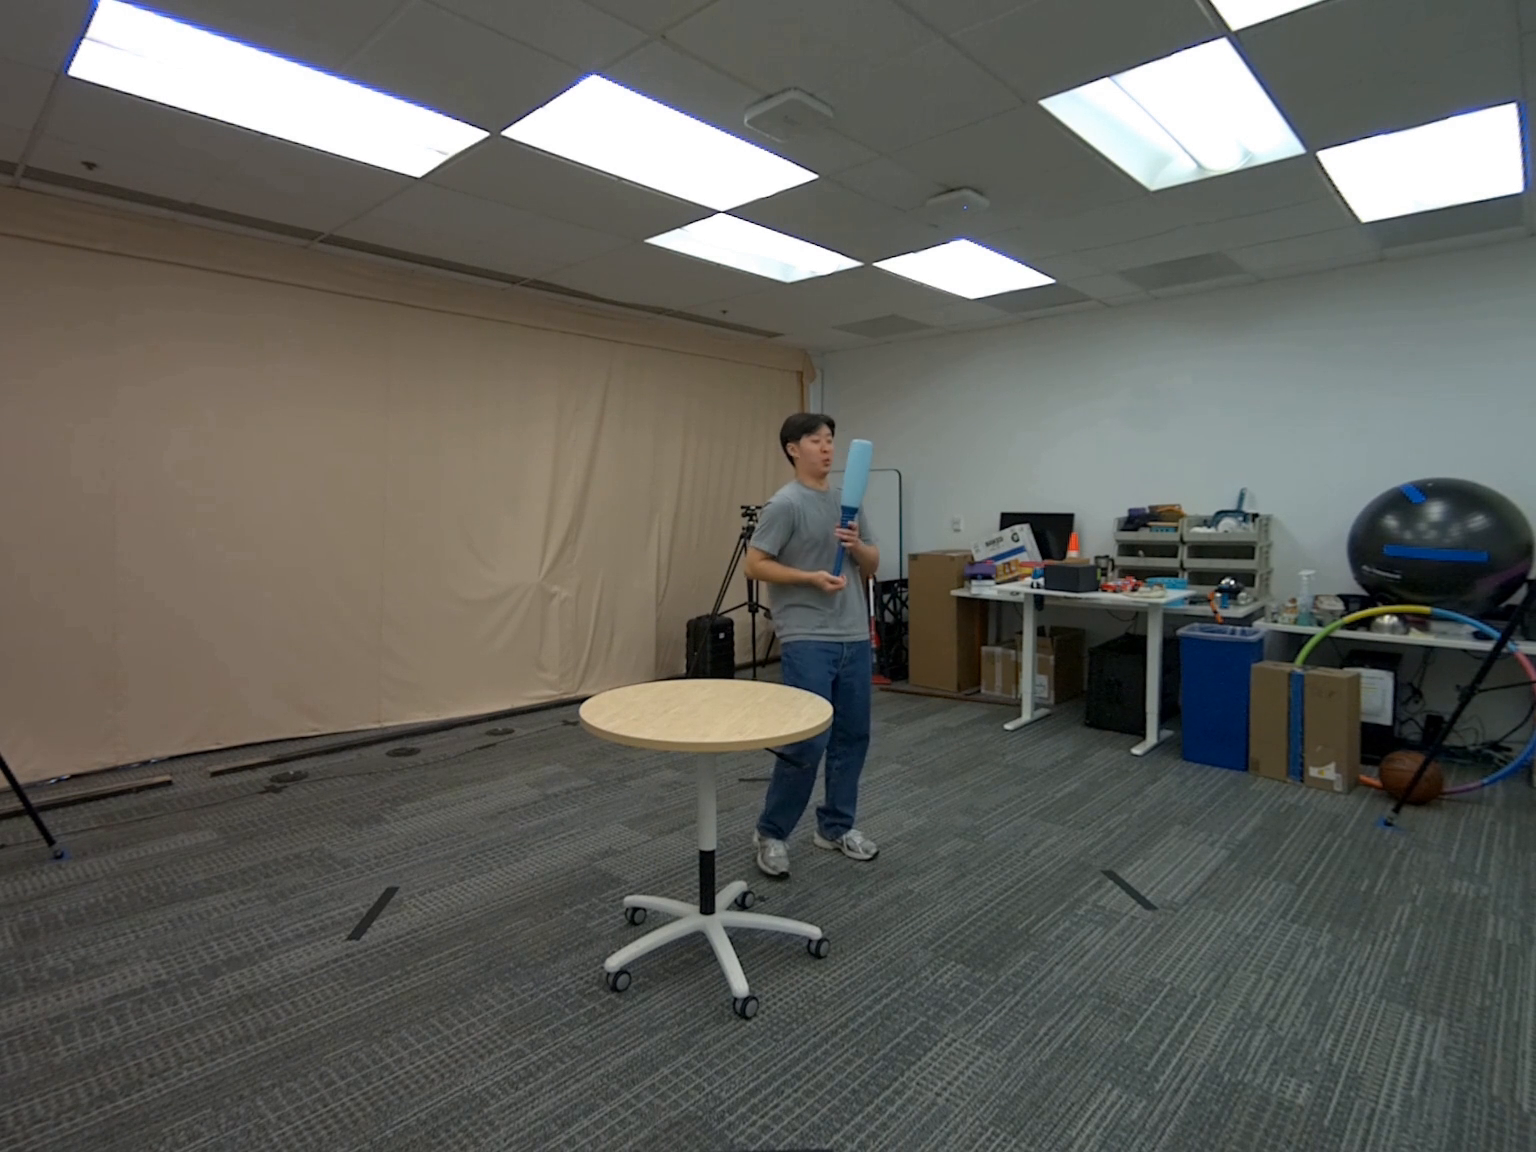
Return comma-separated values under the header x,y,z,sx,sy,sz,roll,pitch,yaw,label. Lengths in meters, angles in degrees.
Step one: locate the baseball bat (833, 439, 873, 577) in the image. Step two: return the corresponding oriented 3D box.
x,y,z,sx,sy,sz,roll,pitch,yaw,label
0.295,-0.230,3.120,0.089,0.542,0.089,10,2,-2,baseball bat
